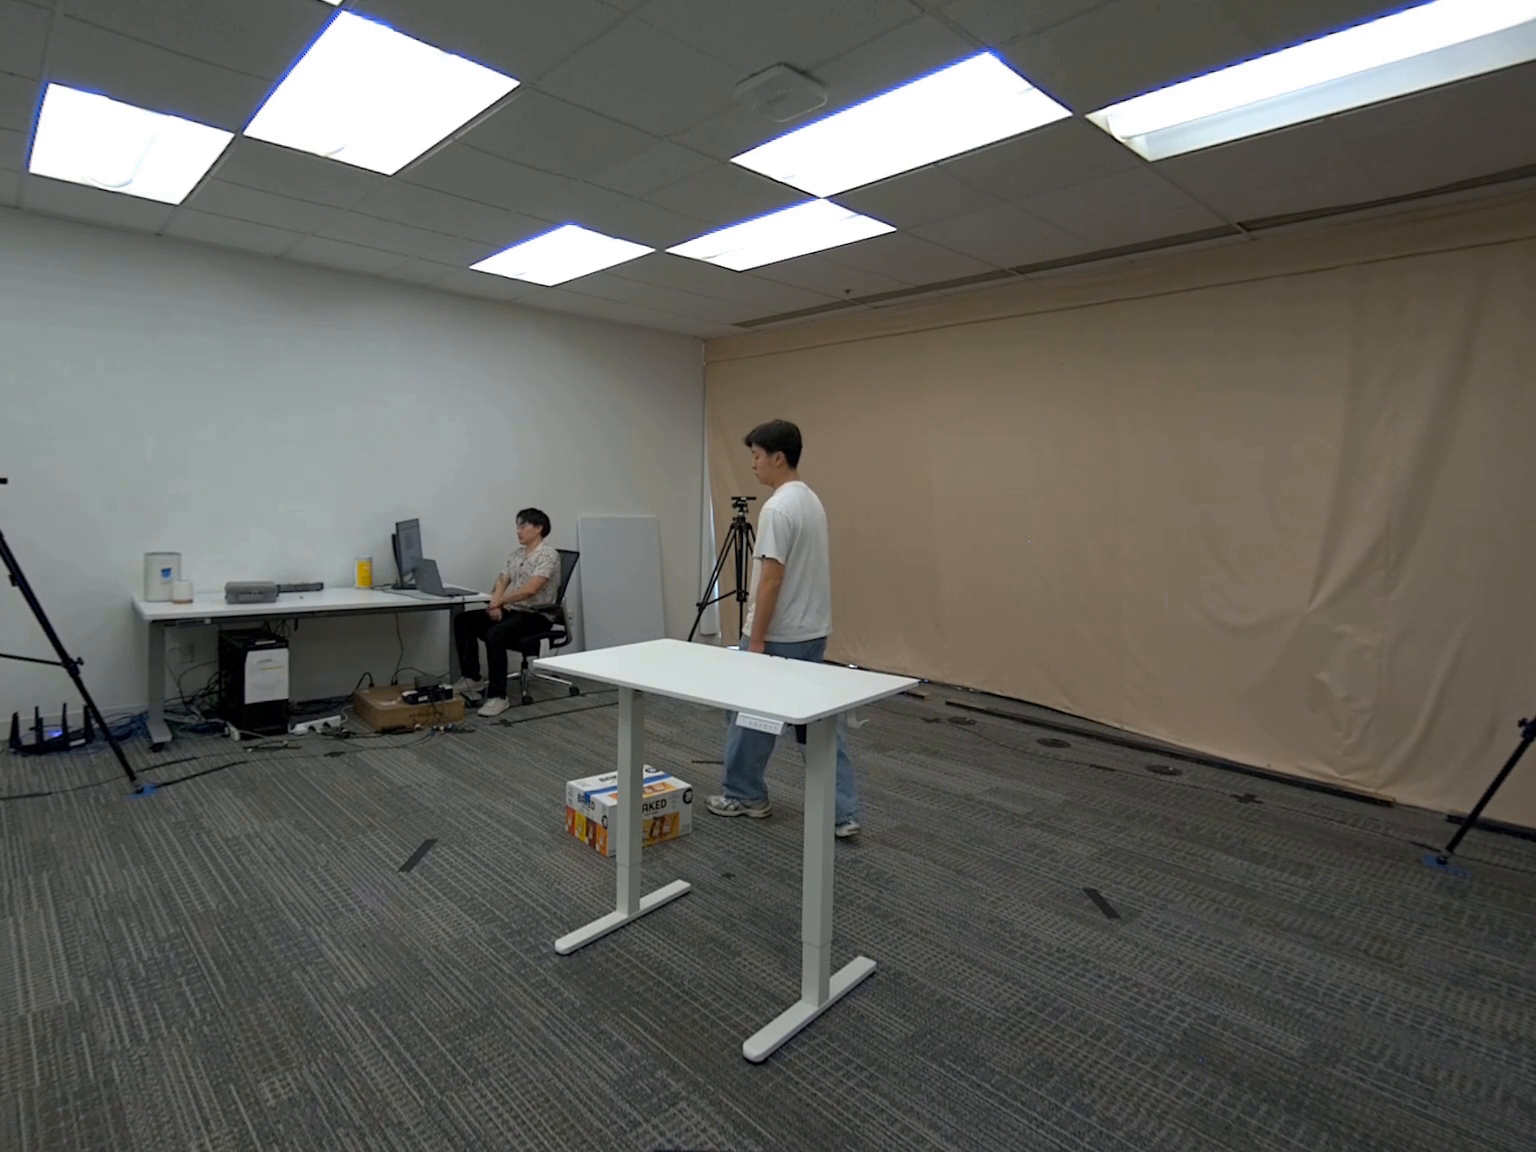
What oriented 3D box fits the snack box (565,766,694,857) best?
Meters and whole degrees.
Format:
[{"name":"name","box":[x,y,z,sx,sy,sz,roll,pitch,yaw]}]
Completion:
[{"name":"snack box","box":[-0.584,0.961,3.480,0.396,0.205,0.349,-3,6,-41]}]
